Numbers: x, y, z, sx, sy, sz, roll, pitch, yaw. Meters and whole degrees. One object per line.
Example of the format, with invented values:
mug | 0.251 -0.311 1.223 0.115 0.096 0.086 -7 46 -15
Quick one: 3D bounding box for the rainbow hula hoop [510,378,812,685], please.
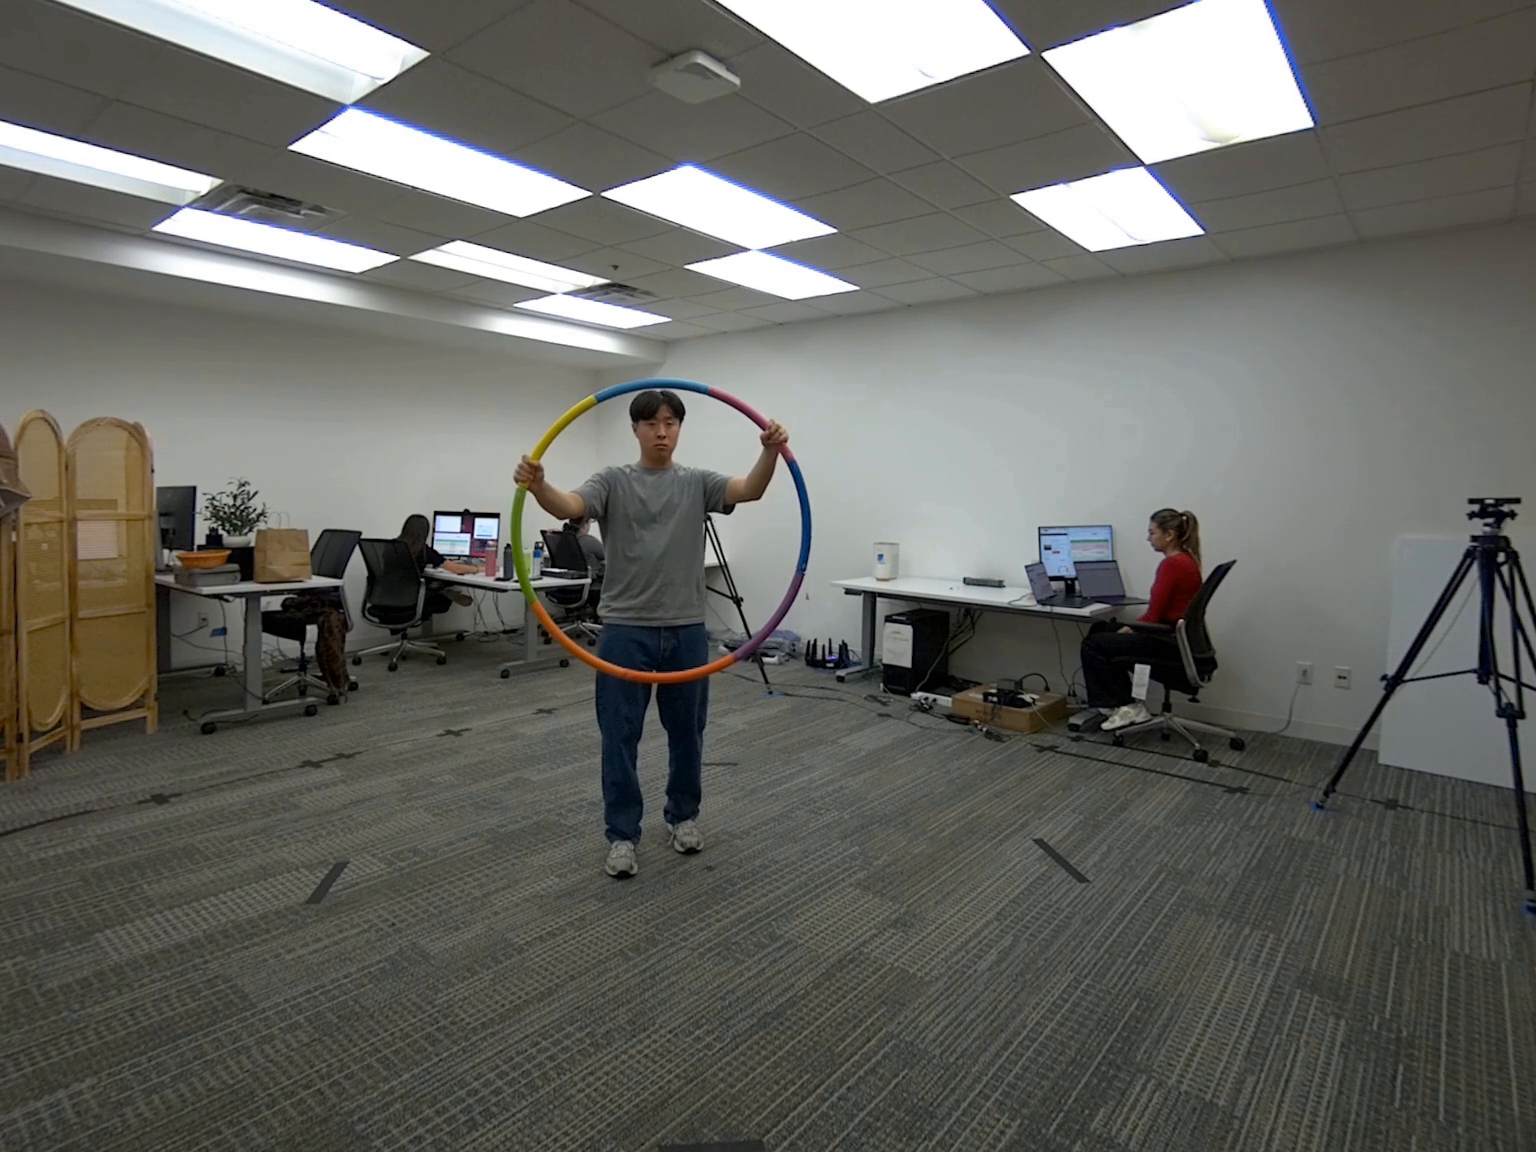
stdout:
rainbow hula hoop | -0.346 -0.145 2.769 0.969 0.979 0.036 0 0 -9
